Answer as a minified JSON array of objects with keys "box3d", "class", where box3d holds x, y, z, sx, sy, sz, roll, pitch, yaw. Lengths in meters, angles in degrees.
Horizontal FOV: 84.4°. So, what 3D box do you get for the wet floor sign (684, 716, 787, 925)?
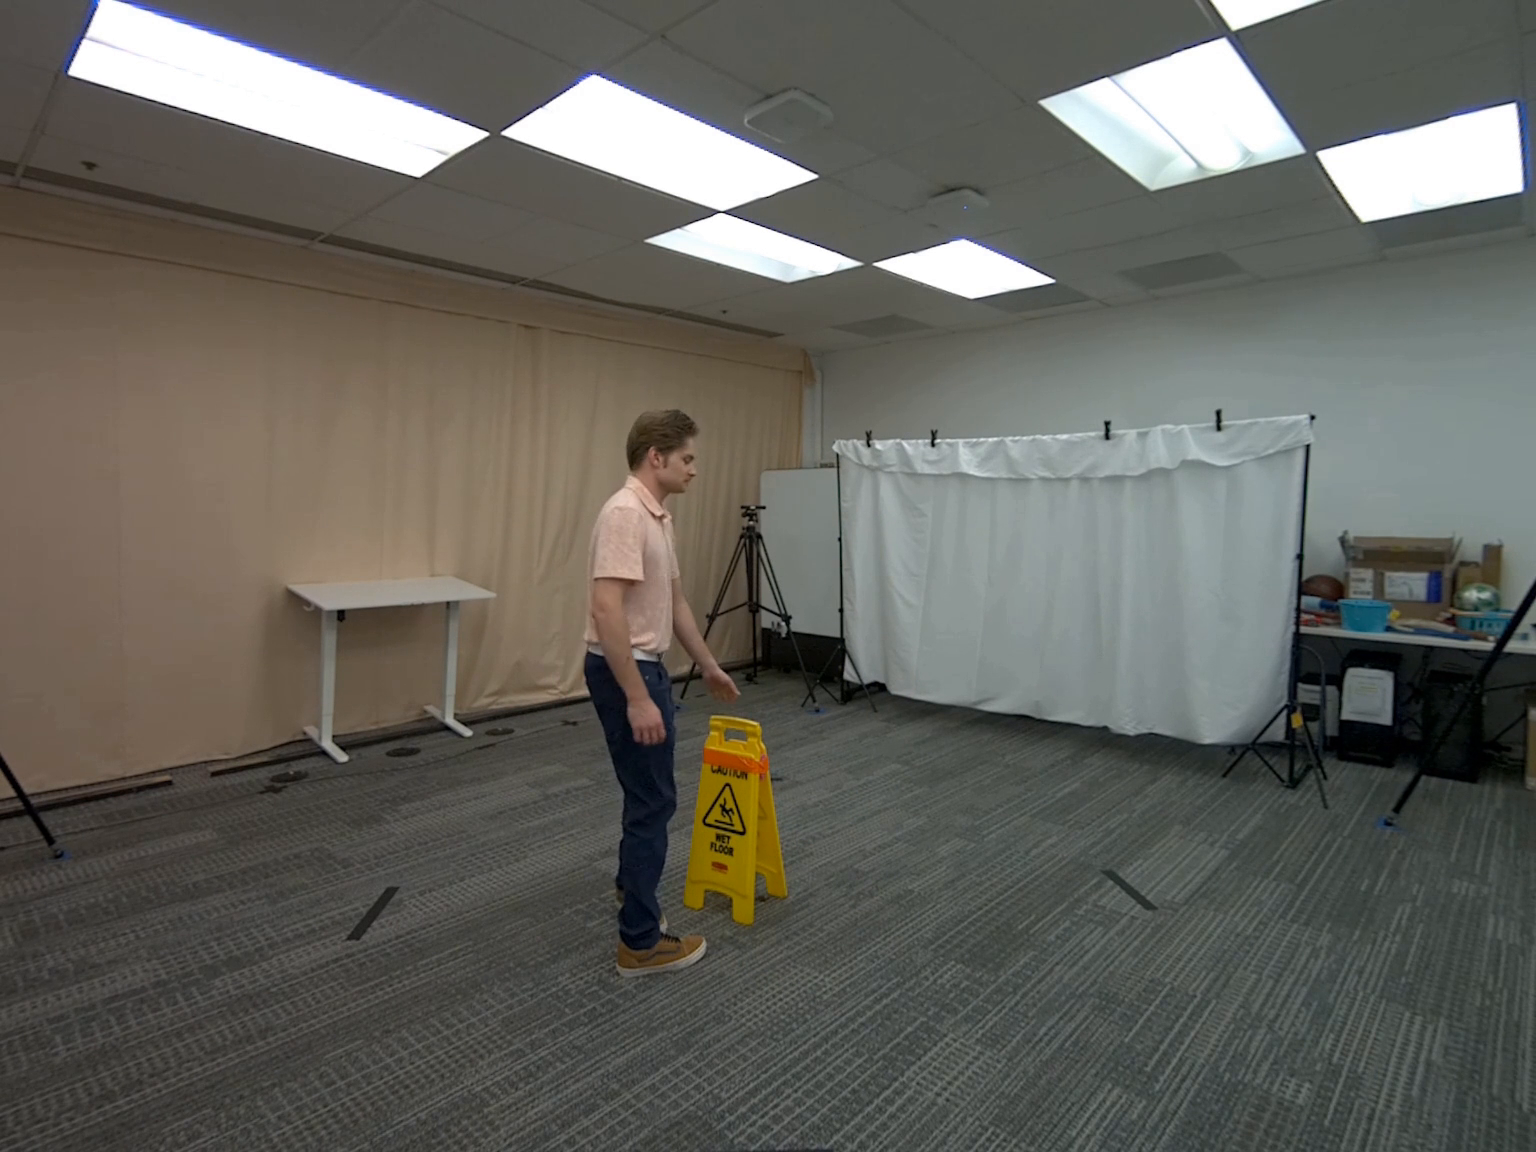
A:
[{"box3d":[-0.112,0.822,2.952,0.291,0.645,0.281,2,3,32],"class":"wet floor sign"}]
